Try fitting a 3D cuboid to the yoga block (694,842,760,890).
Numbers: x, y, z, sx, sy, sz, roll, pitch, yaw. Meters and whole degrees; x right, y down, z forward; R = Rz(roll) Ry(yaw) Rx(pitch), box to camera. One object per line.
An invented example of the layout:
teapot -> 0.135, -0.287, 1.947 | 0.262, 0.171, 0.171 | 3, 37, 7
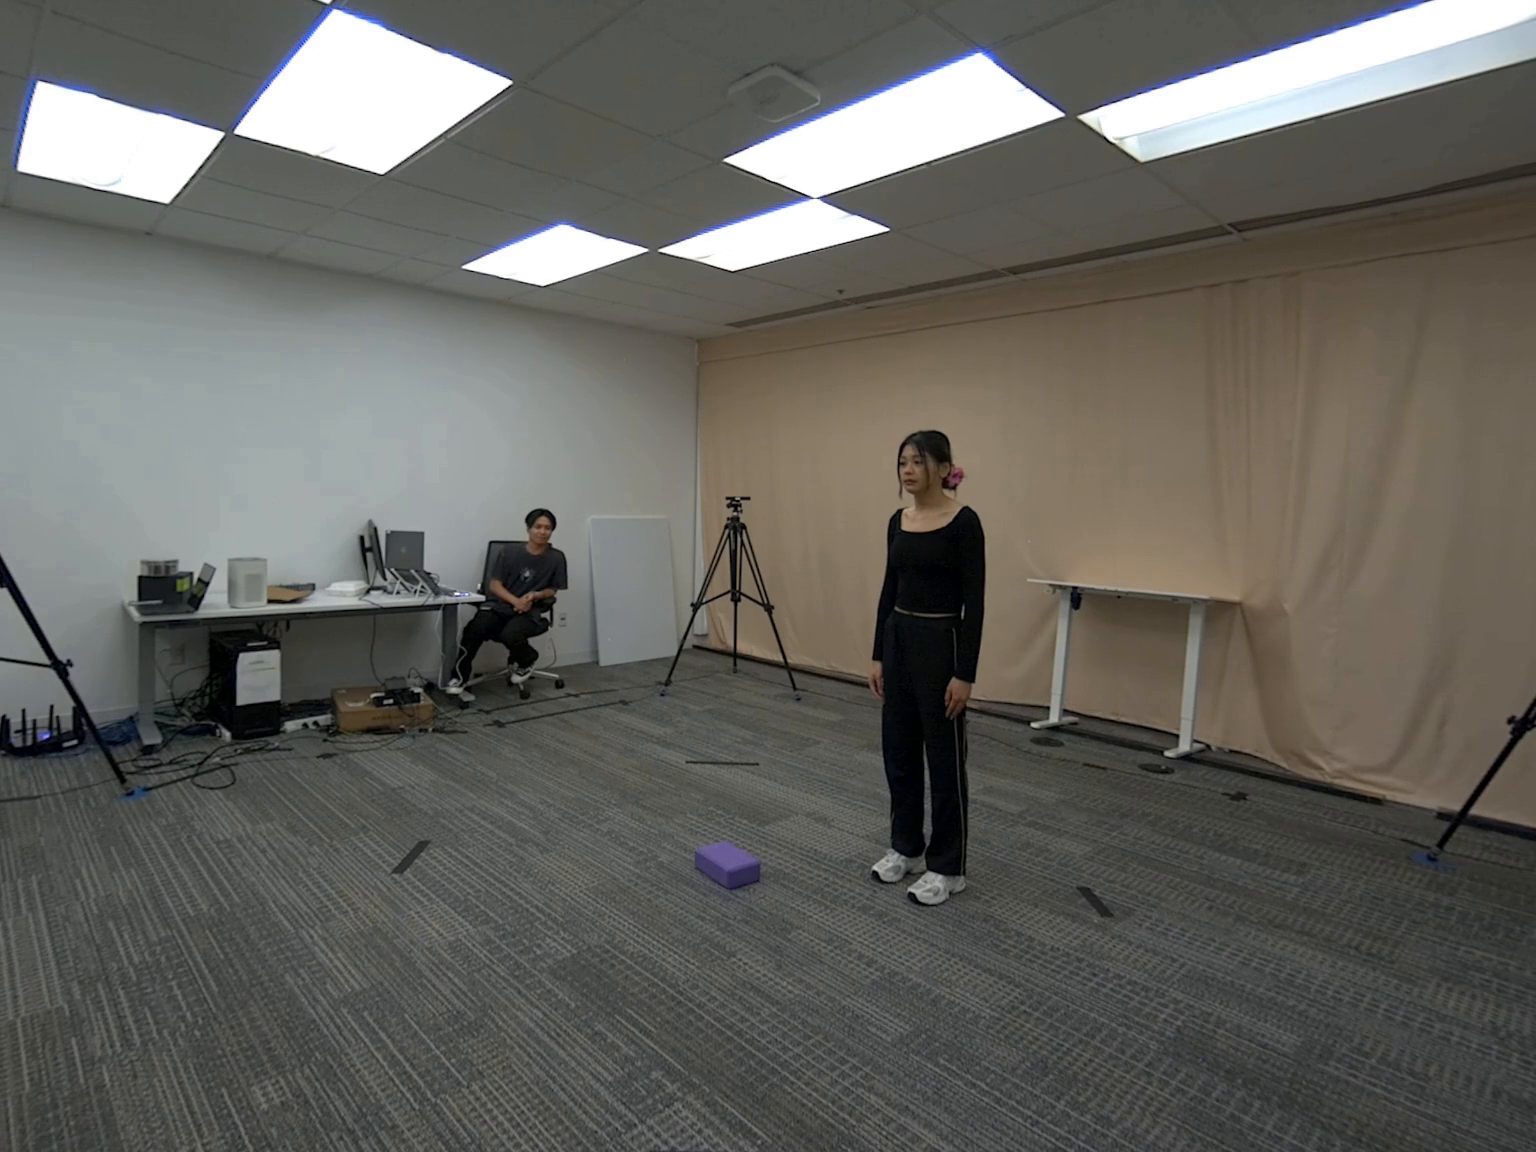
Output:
yoga block -> -0.156, 1.058, 3.114 | 0.146, 0.076, 0.235 | -4, 7, -37
